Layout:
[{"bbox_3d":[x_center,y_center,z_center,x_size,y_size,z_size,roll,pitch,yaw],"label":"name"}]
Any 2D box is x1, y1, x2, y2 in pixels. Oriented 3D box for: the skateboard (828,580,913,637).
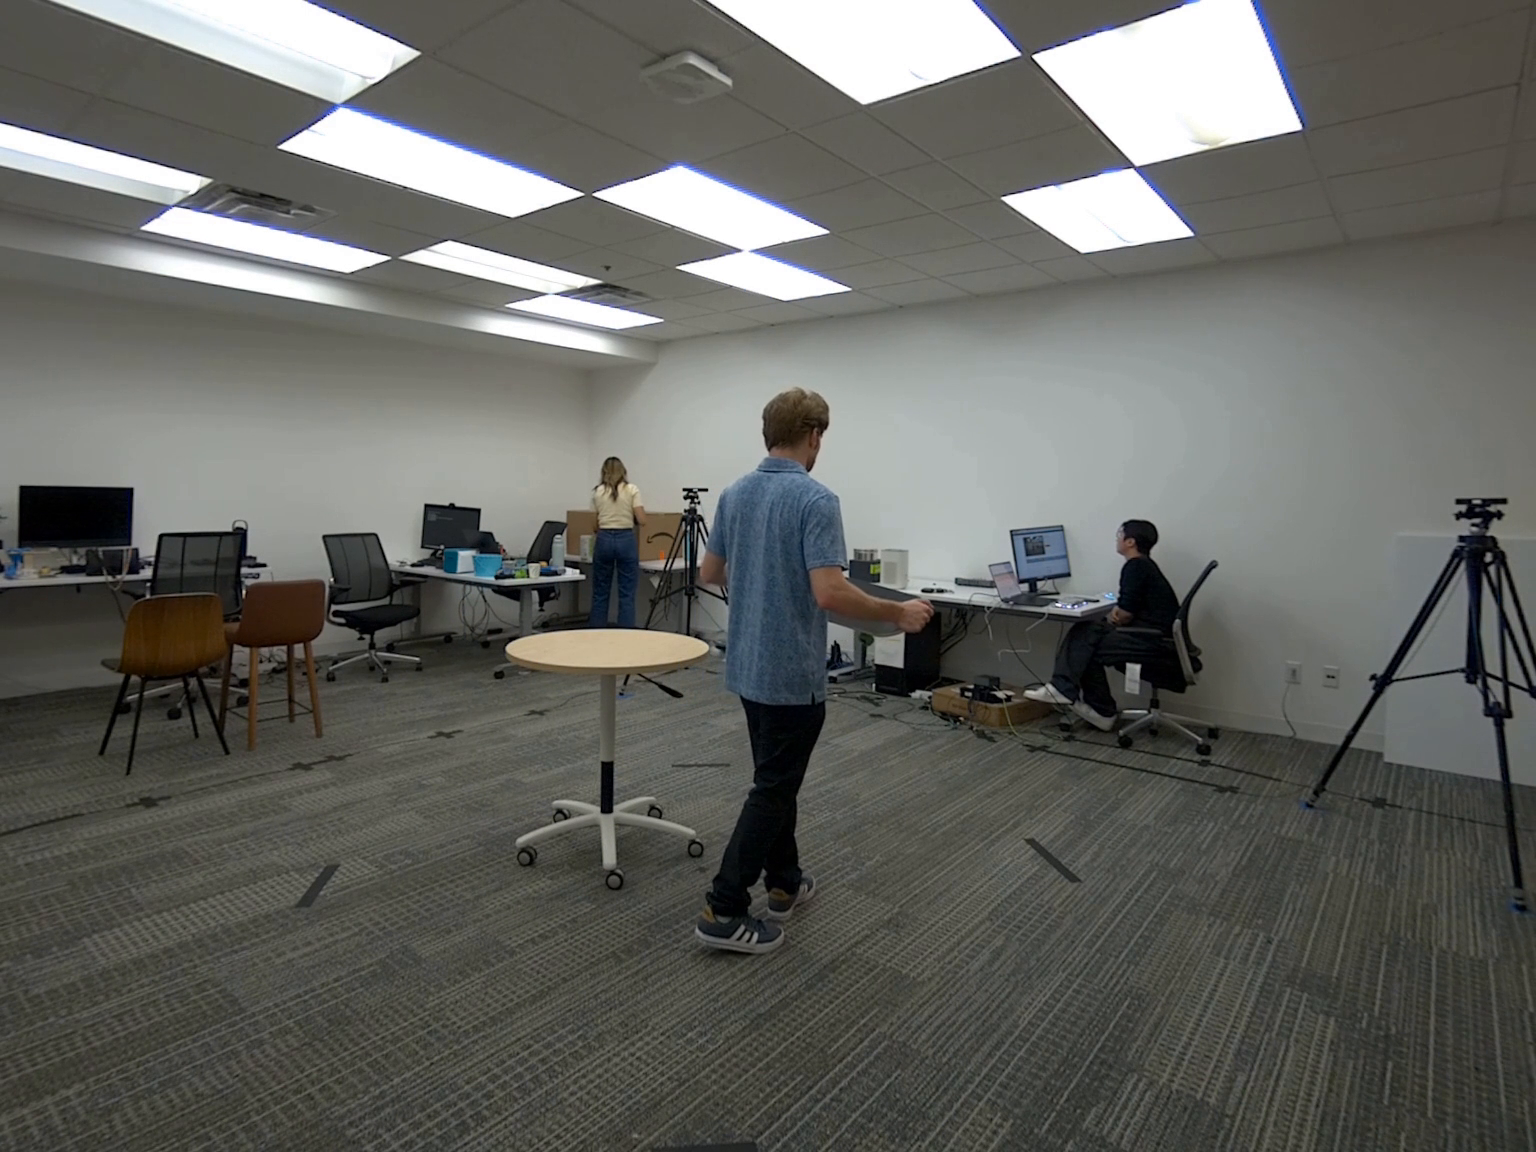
[{"bbox_3d":[0.200,0.089,2.877,0.193,0.107,0.815,-42,33,-25],"label":"skateboard"}]
